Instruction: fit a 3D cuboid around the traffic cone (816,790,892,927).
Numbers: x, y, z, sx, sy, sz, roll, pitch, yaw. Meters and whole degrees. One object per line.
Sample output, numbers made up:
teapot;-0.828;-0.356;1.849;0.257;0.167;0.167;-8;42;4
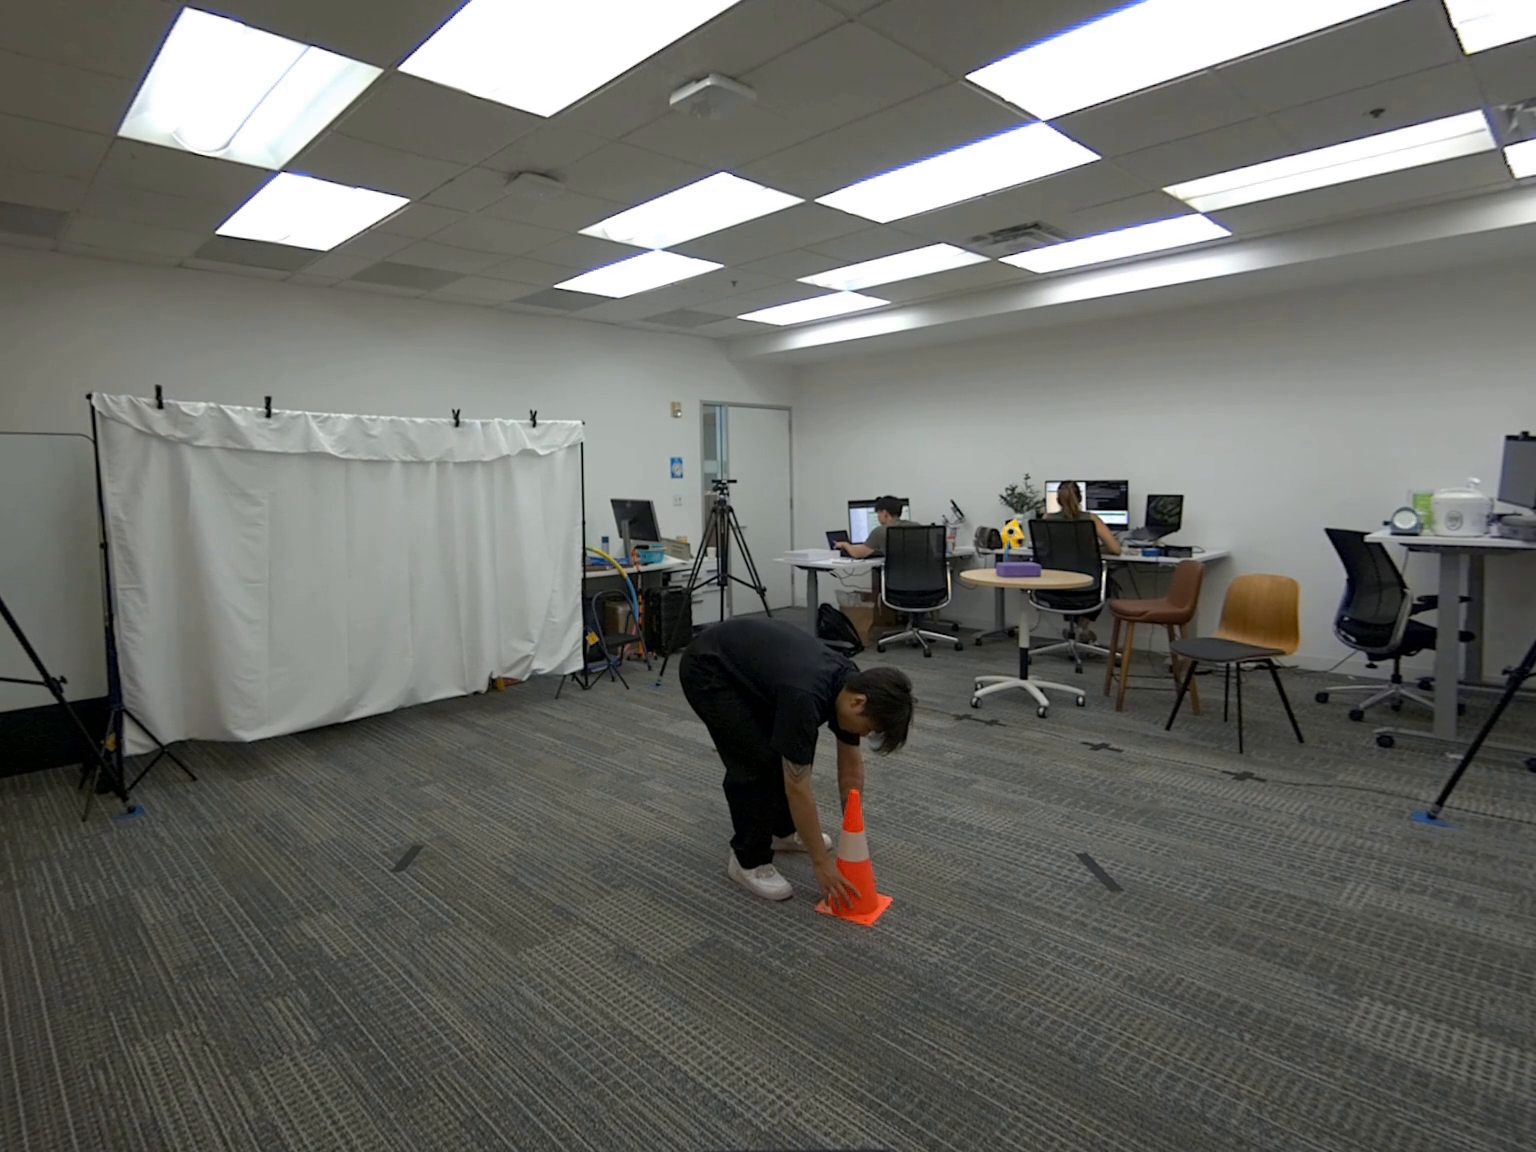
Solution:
traffic cone;0.270;0.879;2.795;0.211;0.381;0.199;4;7;32
